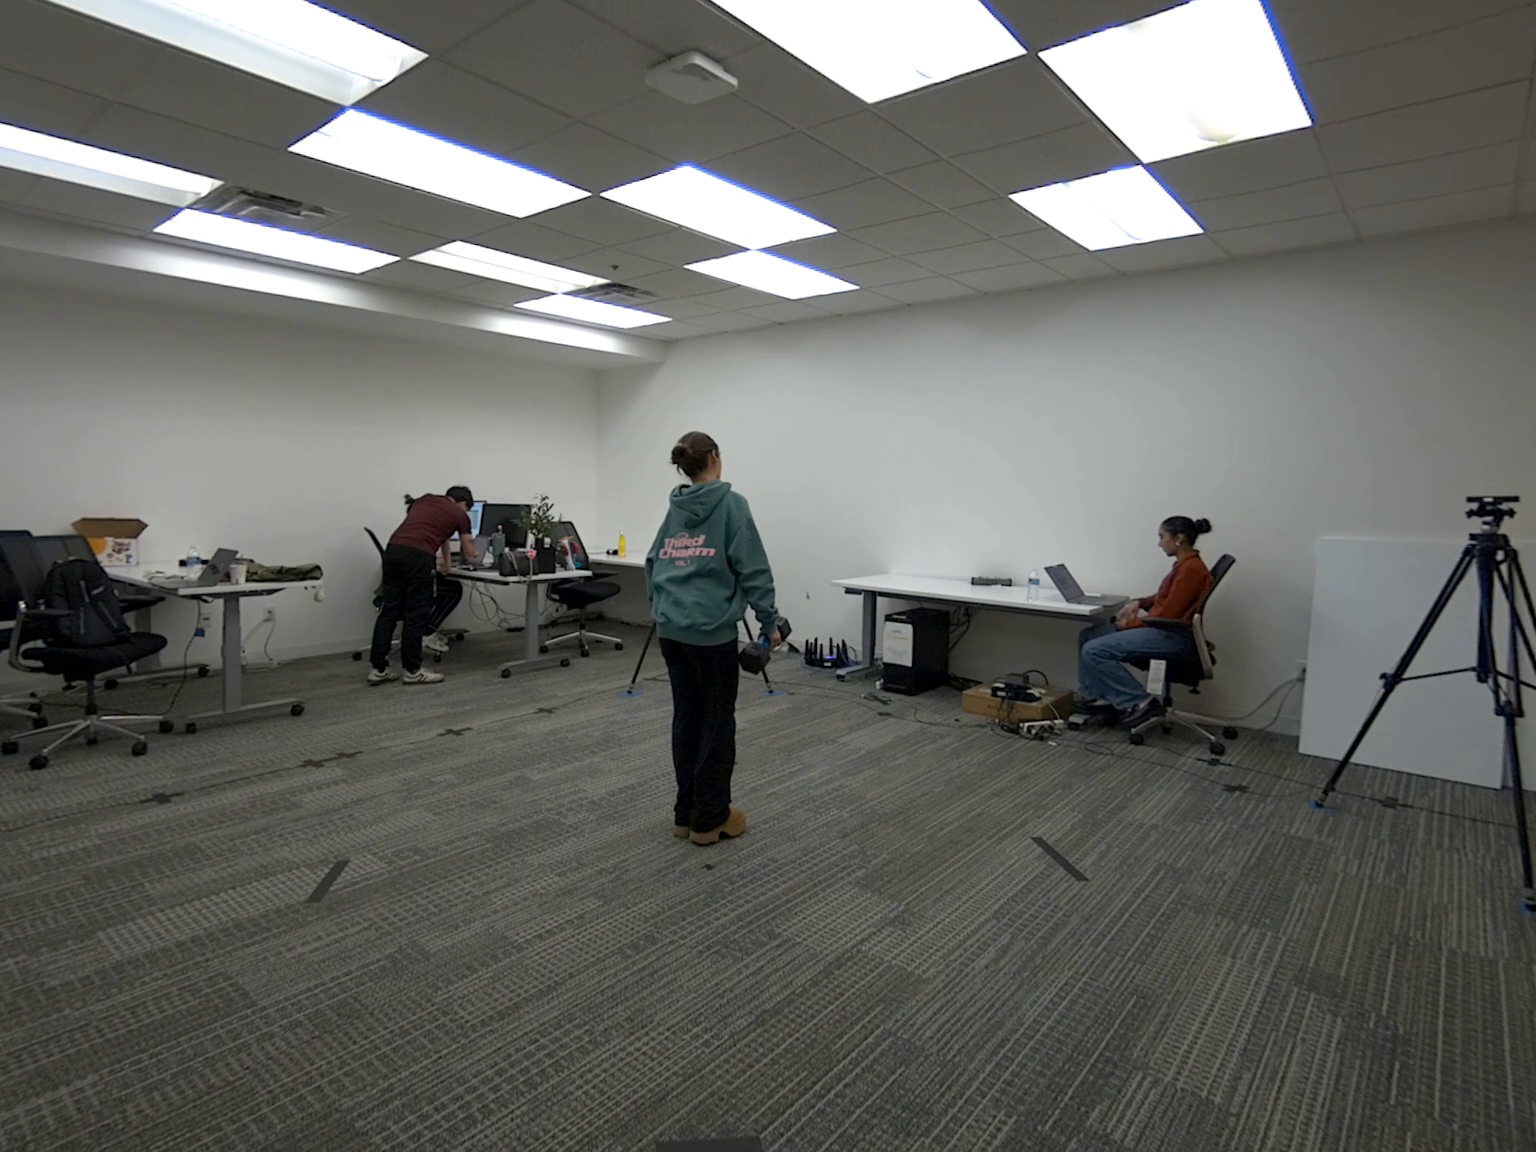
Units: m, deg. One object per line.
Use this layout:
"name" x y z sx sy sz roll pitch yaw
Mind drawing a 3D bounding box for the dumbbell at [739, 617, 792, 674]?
"dumbbell" -0.026 0.275 3.386 0.123 0.109 0.293 -48 -1 38
